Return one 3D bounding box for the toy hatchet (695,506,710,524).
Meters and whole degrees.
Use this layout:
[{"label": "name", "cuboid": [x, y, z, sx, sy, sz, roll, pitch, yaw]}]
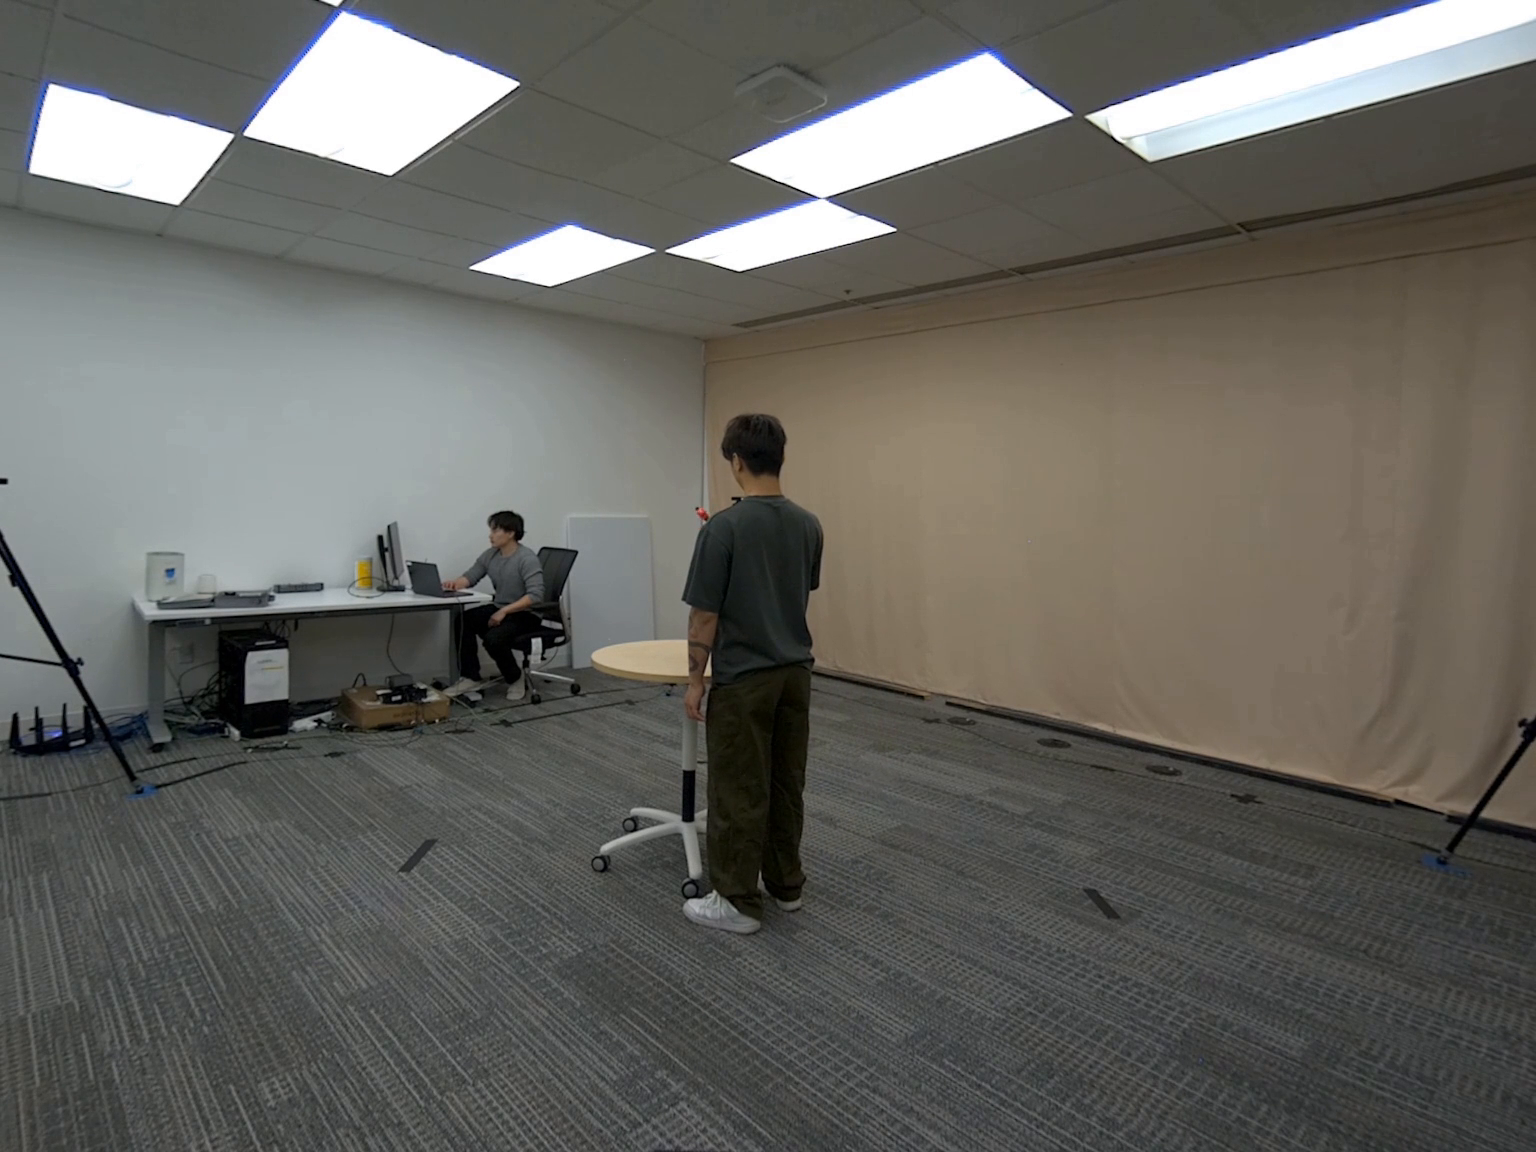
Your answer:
[{"label": "toy hatchet", "cuboid": [-0.187, -0.164, 3.197, 0.265, 0.029, 0.133, 47, -2, -18]}]
